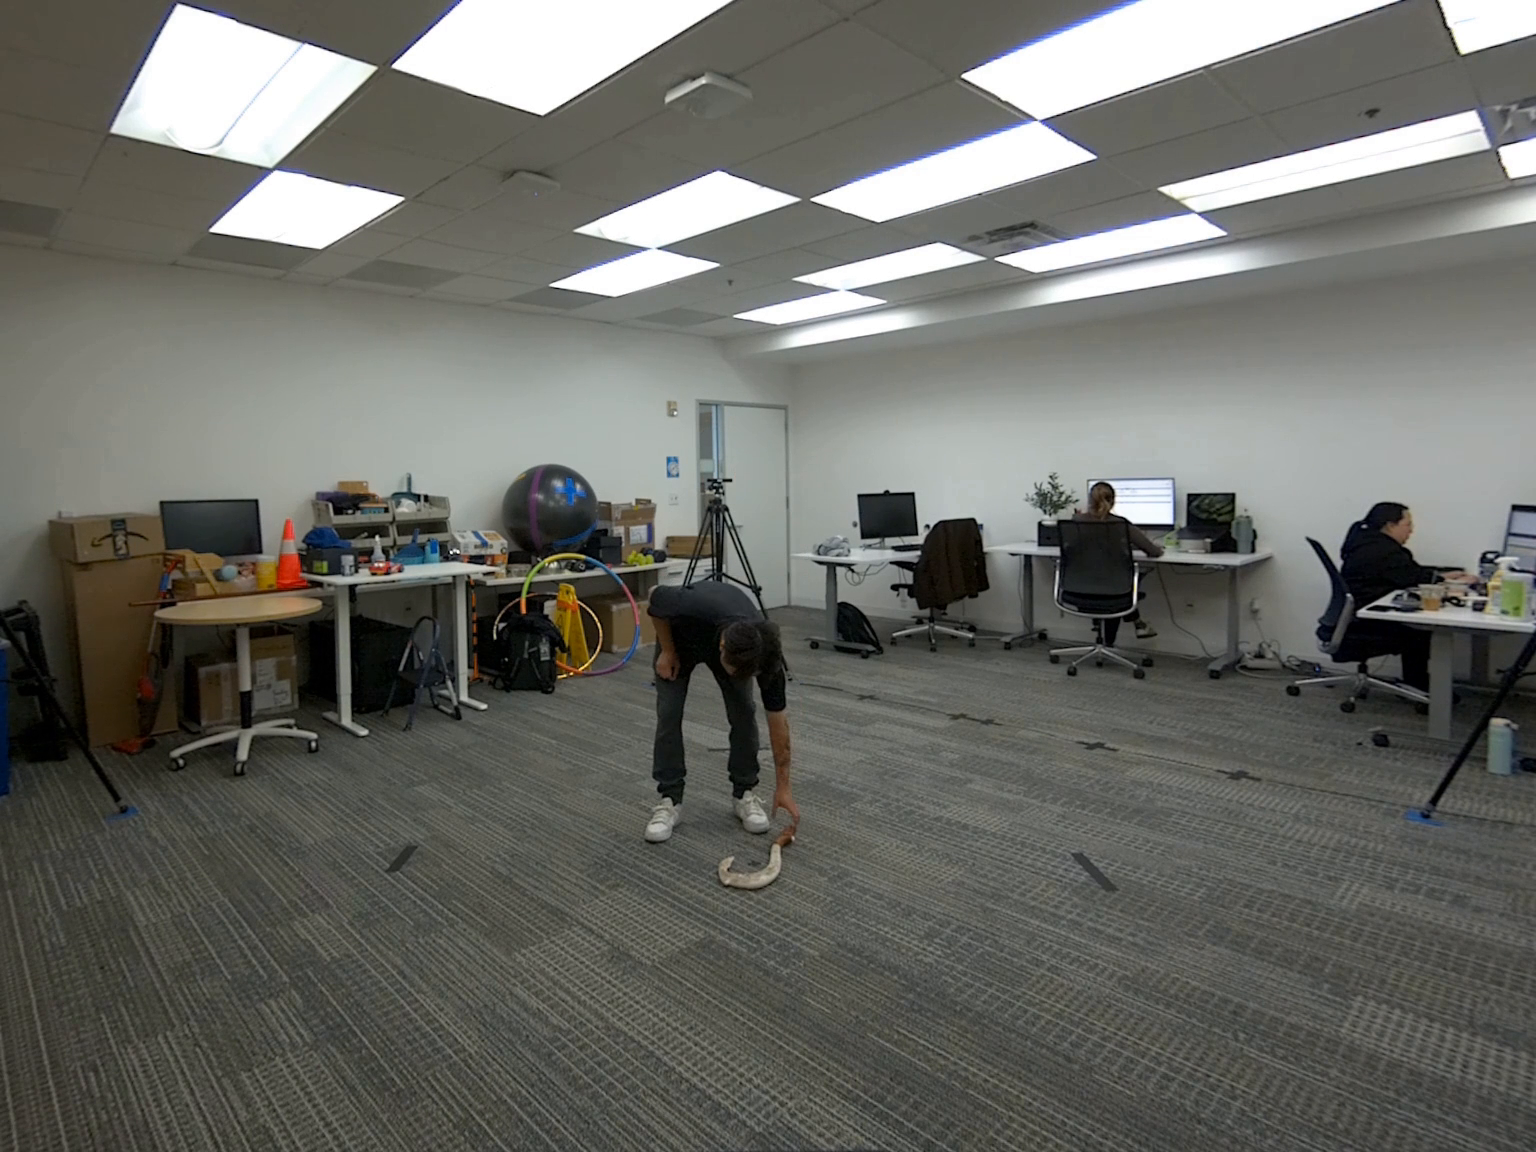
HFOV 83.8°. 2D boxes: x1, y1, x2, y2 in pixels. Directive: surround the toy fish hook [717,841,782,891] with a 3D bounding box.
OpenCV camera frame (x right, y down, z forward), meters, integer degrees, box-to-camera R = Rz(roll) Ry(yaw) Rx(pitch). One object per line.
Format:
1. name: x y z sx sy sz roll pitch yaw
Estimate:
1. toy fish hook: -0.032 1.020 3.144 0.229 0.048 0.499 2 7 18
